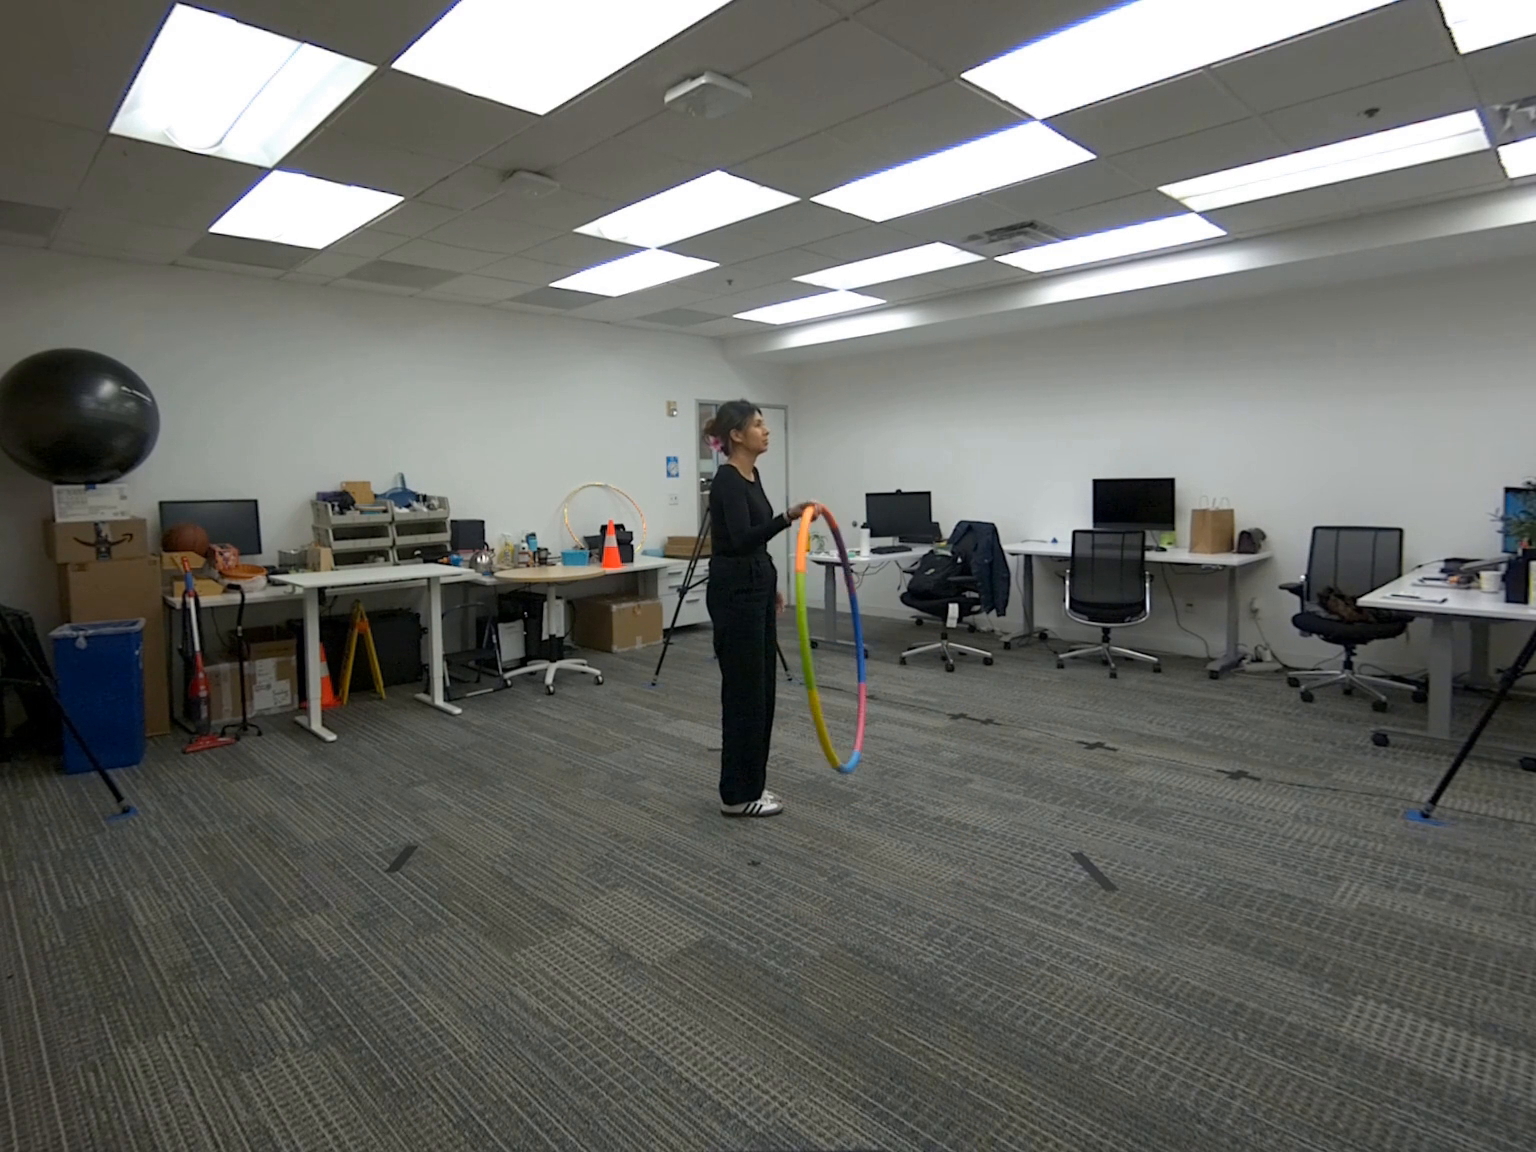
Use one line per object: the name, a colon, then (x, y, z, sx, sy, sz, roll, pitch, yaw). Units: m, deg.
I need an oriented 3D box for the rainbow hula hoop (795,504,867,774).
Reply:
rainbow hula hoop: (0.234, 0.218, 3.158, 0.052, 0.984, 0.974, -8, 3, 15)
